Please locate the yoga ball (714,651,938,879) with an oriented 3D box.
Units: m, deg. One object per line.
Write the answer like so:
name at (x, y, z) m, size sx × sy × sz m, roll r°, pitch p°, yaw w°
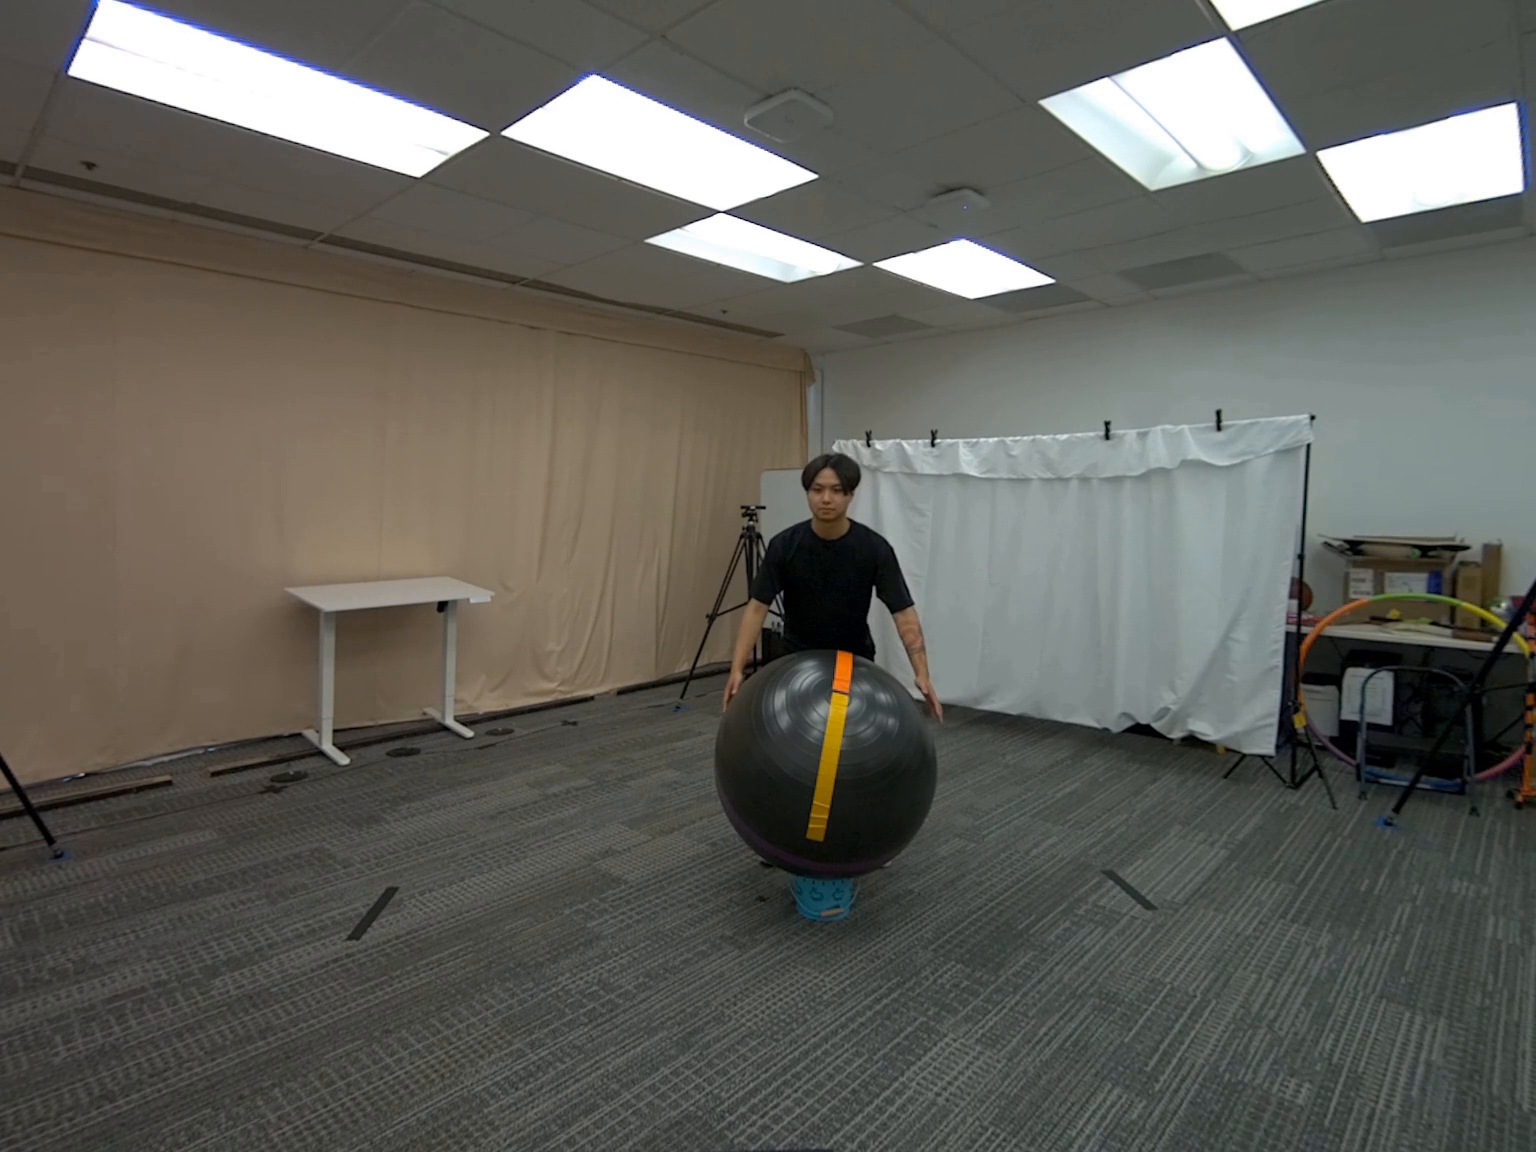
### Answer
yoga ball at (0.202, 0.639, 2.890) m, size 0.757 × 0.756 × 0.760 m, roll 0°, pitch 4°, yaw -2°
